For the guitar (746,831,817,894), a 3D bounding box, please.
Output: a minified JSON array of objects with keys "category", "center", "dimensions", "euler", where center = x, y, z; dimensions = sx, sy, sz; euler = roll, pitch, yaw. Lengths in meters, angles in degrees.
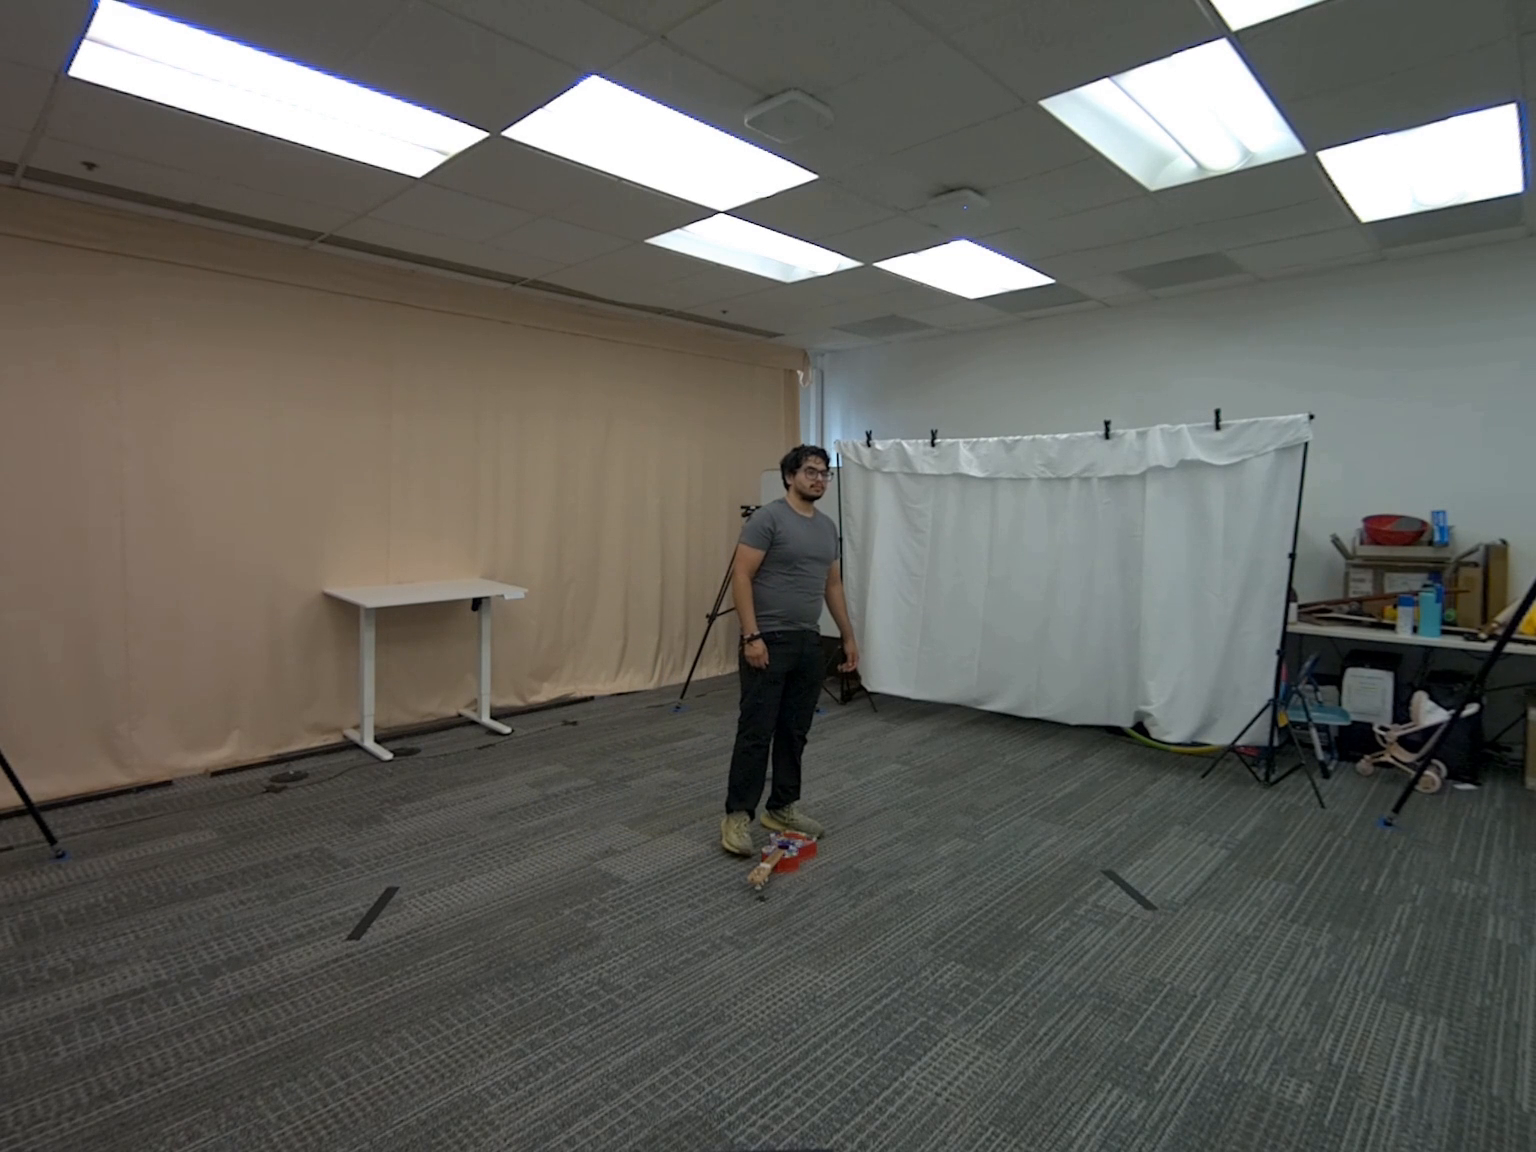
[{"category":"guitar","center":[0.010,1.084,3.235],"dimensions":[0.199,0.070,0.484],"euler":[3,6,31]}]
